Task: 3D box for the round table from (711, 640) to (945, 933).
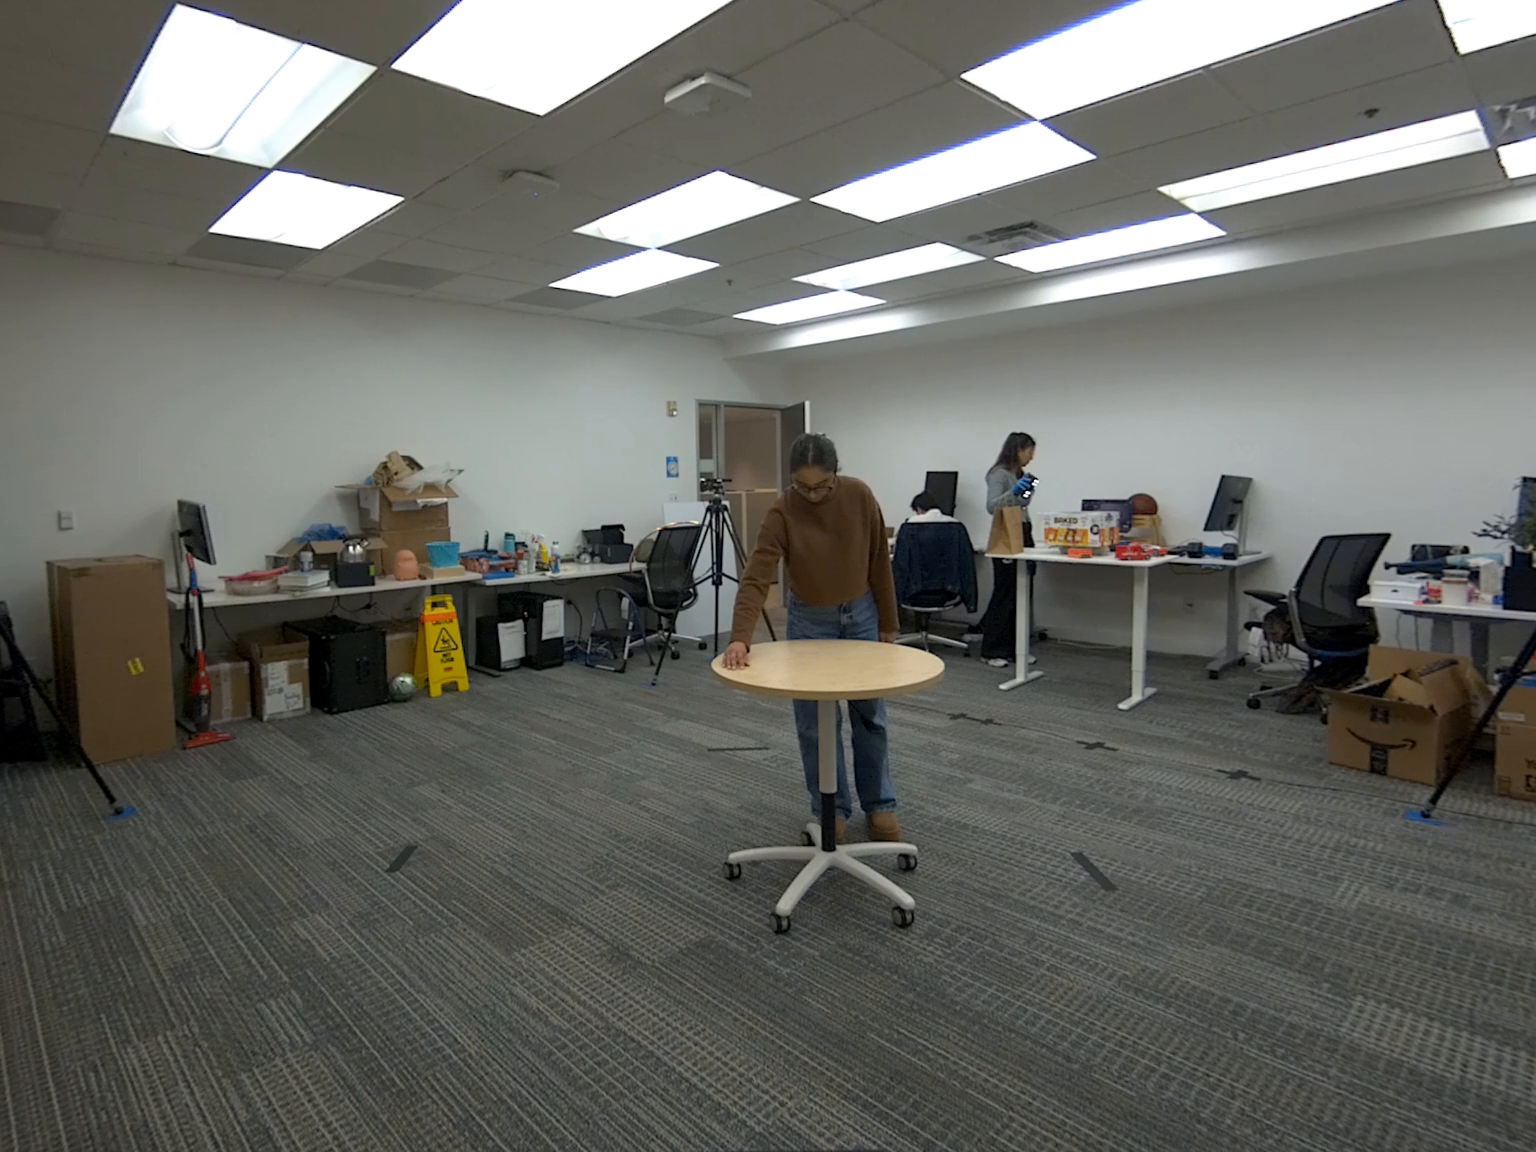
[{"bbox_3d":[0.206,0.680,2.869,0.763,0.790,0.768,-1,5,-2],"label":"round table"}]
